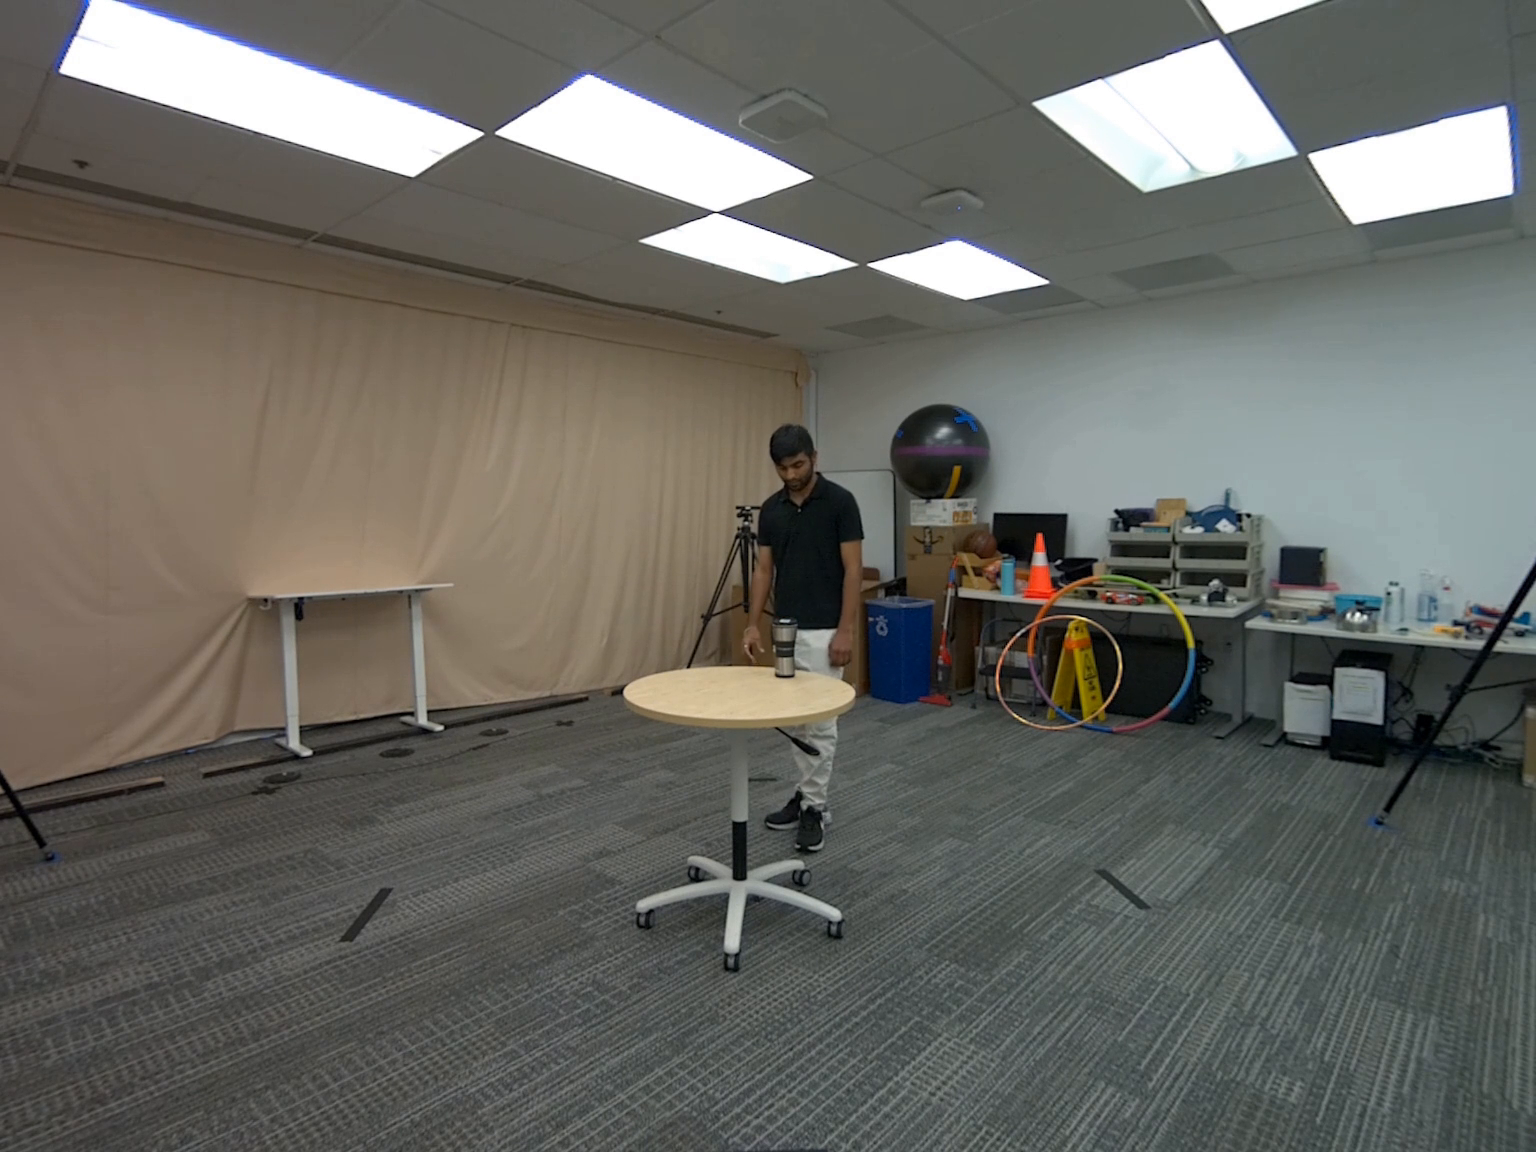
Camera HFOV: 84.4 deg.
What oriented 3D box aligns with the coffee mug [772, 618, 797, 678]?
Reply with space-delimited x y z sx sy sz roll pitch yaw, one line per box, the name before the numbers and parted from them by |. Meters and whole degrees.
coffee mug | 0.083 0.259 3.014 0.118 0.203 0.091 -3 2 -43
